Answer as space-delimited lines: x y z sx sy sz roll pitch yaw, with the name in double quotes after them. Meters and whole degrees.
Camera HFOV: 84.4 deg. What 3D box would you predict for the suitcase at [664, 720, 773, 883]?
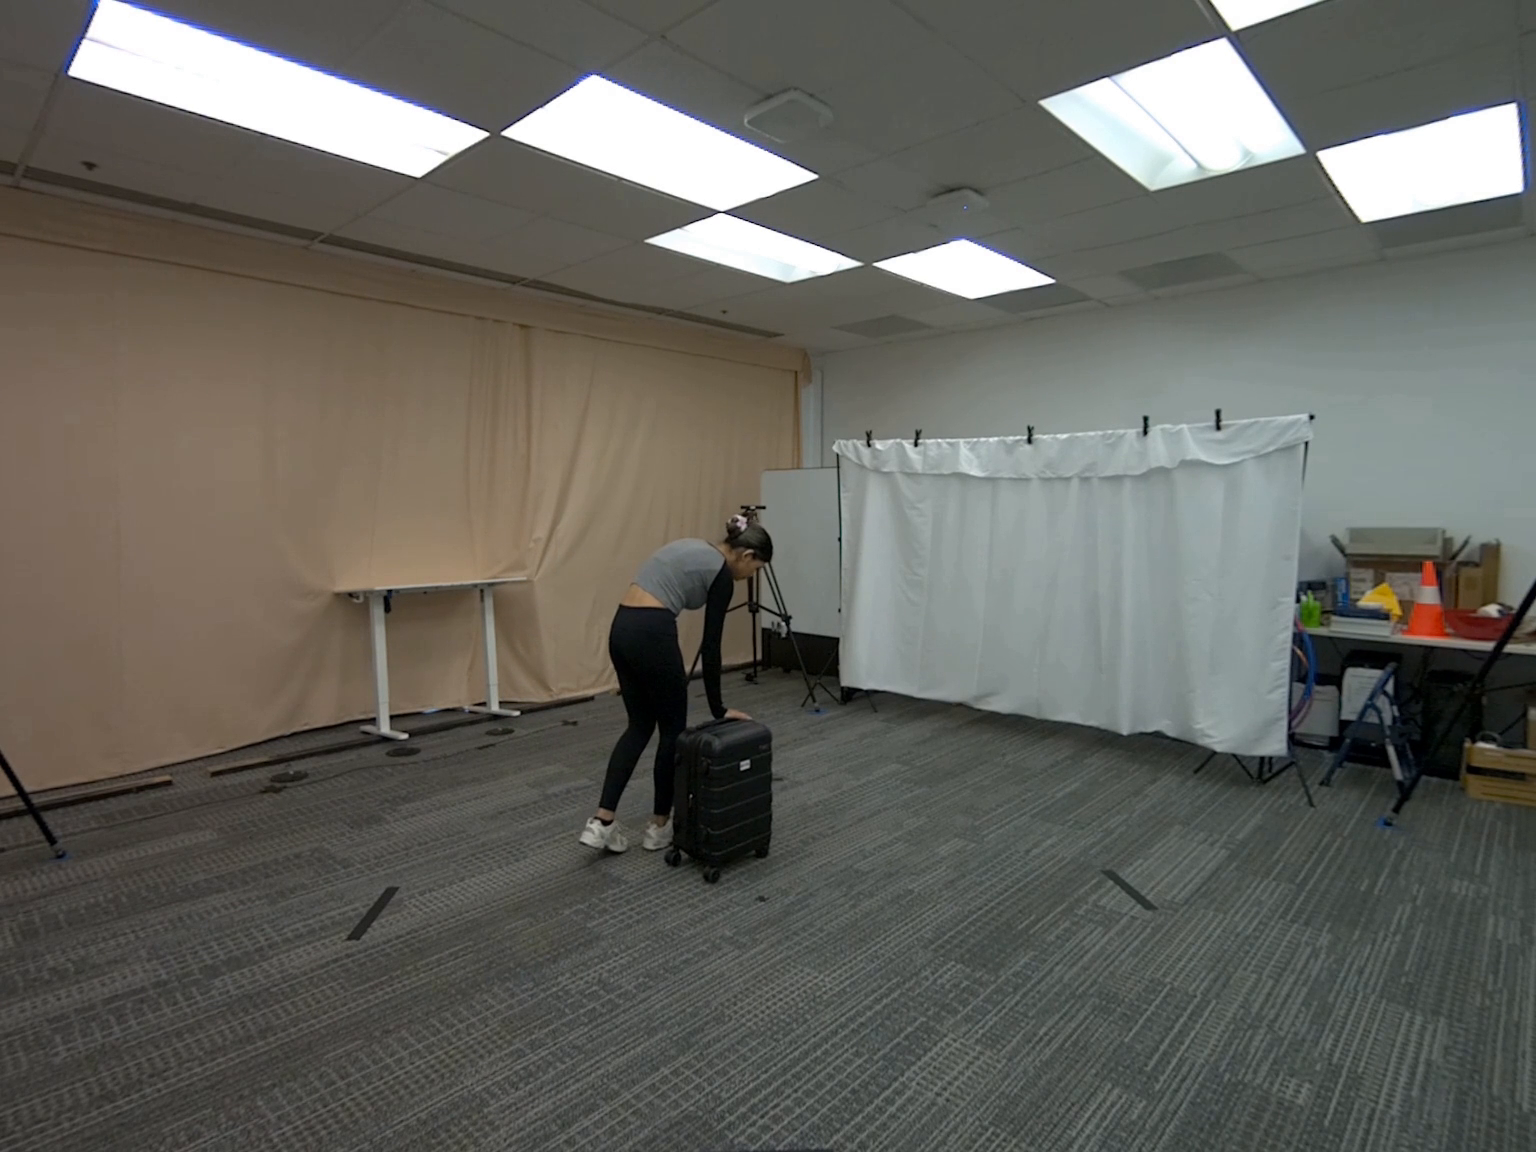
-0.171 0.842 3.295 0.257 0.548 0.363 5 4 42 "suitcase"
